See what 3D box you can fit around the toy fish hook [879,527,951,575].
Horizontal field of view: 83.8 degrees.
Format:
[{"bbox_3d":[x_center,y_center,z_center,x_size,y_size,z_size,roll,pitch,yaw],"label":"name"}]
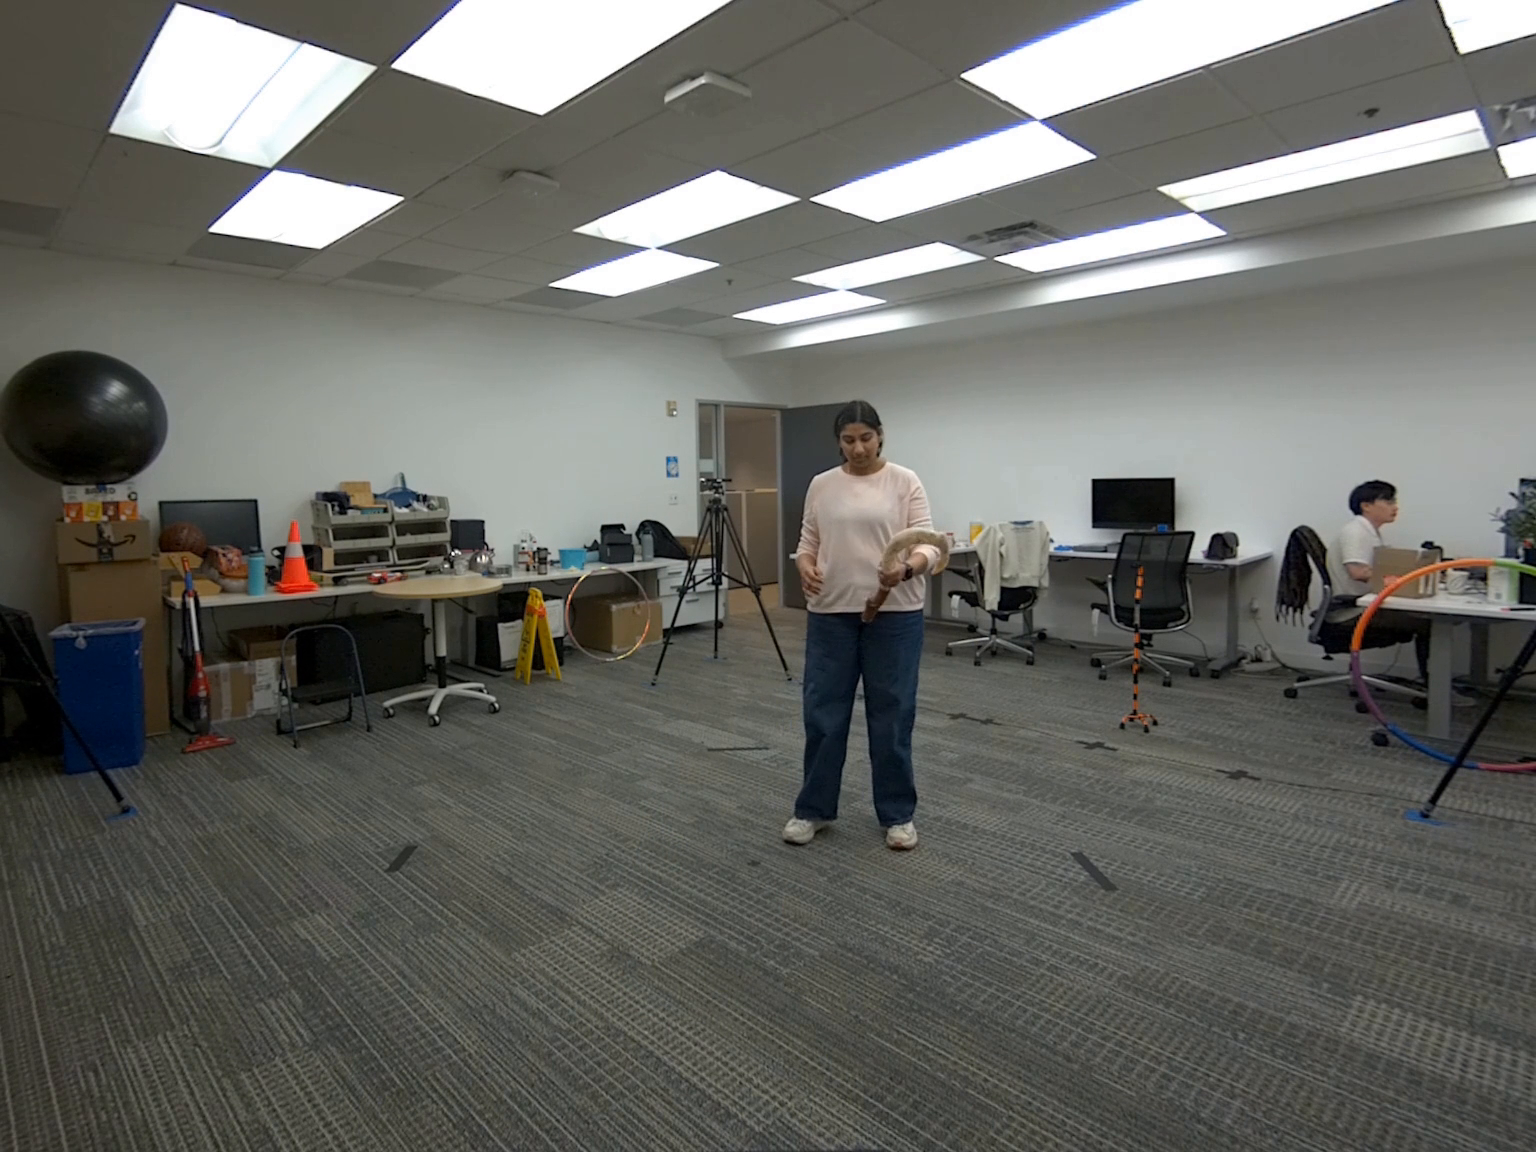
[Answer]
[{"bbox_3d":[0.455,0.014,2.960,0.223,0.049,0.500,18,-44,-8],"label":"toy fish hook"}]
